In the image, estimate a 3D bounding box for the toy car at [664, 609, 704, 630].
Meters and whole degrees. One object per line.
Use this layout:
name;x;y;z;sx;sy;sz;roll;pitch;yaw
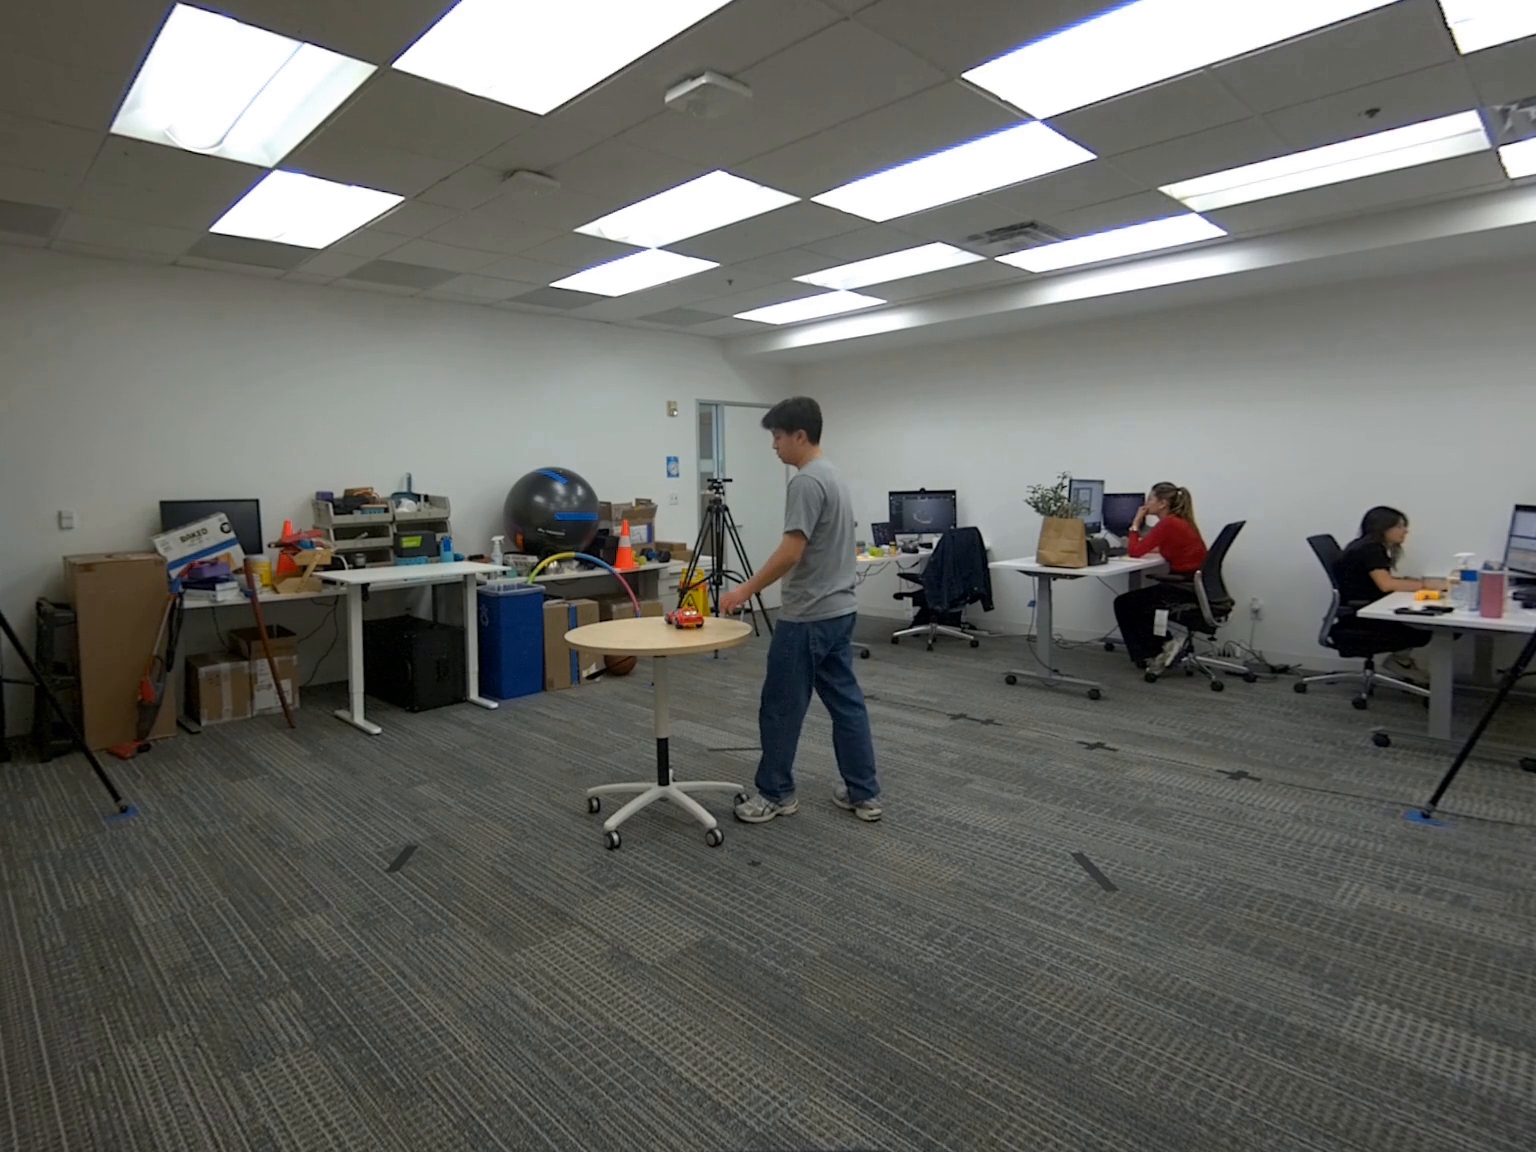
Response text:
toy car;-0.345;0.177;3.608;0.128;0.084;0.257;-2;-5;-21
